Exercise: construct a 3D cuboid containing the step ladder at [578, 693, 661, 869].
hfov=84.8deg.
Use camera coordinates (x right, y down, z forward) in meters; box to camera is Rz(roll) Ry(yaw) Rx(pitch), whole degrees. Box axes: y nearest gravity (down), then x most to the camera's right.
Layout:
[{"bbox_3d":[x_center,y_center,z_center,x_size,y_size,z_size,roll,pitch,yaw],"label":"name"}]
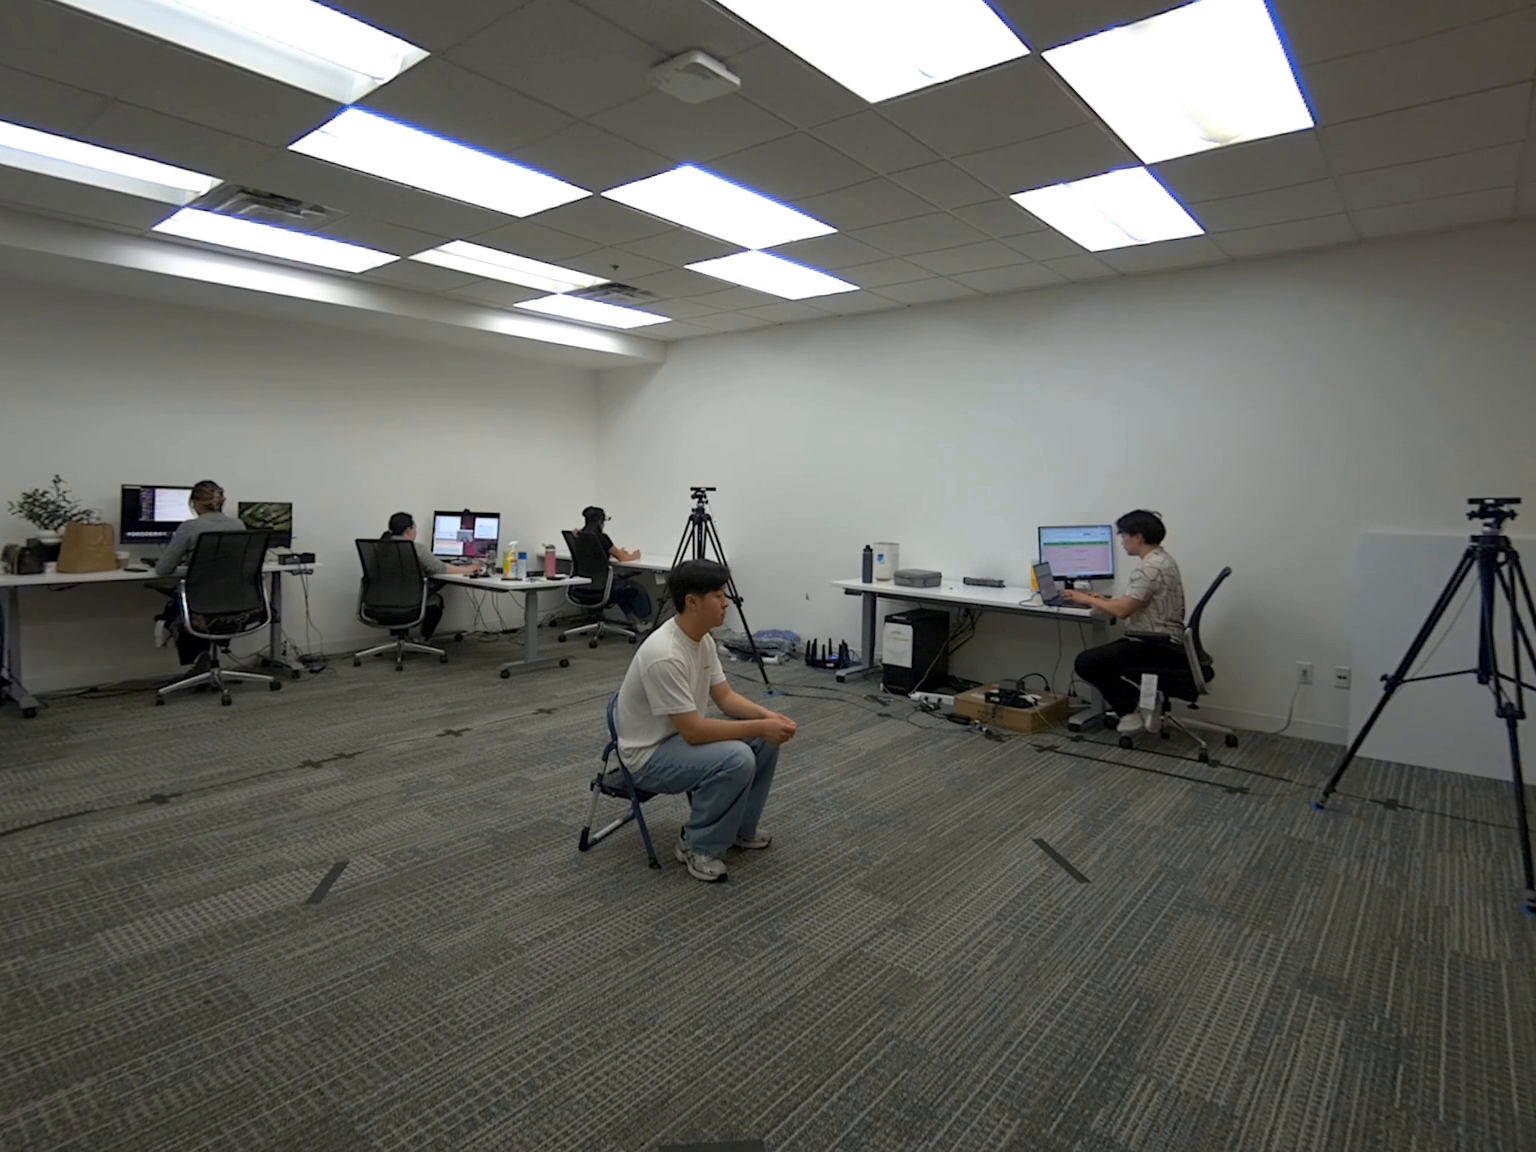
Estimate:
[{"bbox_3d":[-0.502,0.739,3.347,0.357,0.605,0.421,2,3,22],"label":"step ladder"}]
